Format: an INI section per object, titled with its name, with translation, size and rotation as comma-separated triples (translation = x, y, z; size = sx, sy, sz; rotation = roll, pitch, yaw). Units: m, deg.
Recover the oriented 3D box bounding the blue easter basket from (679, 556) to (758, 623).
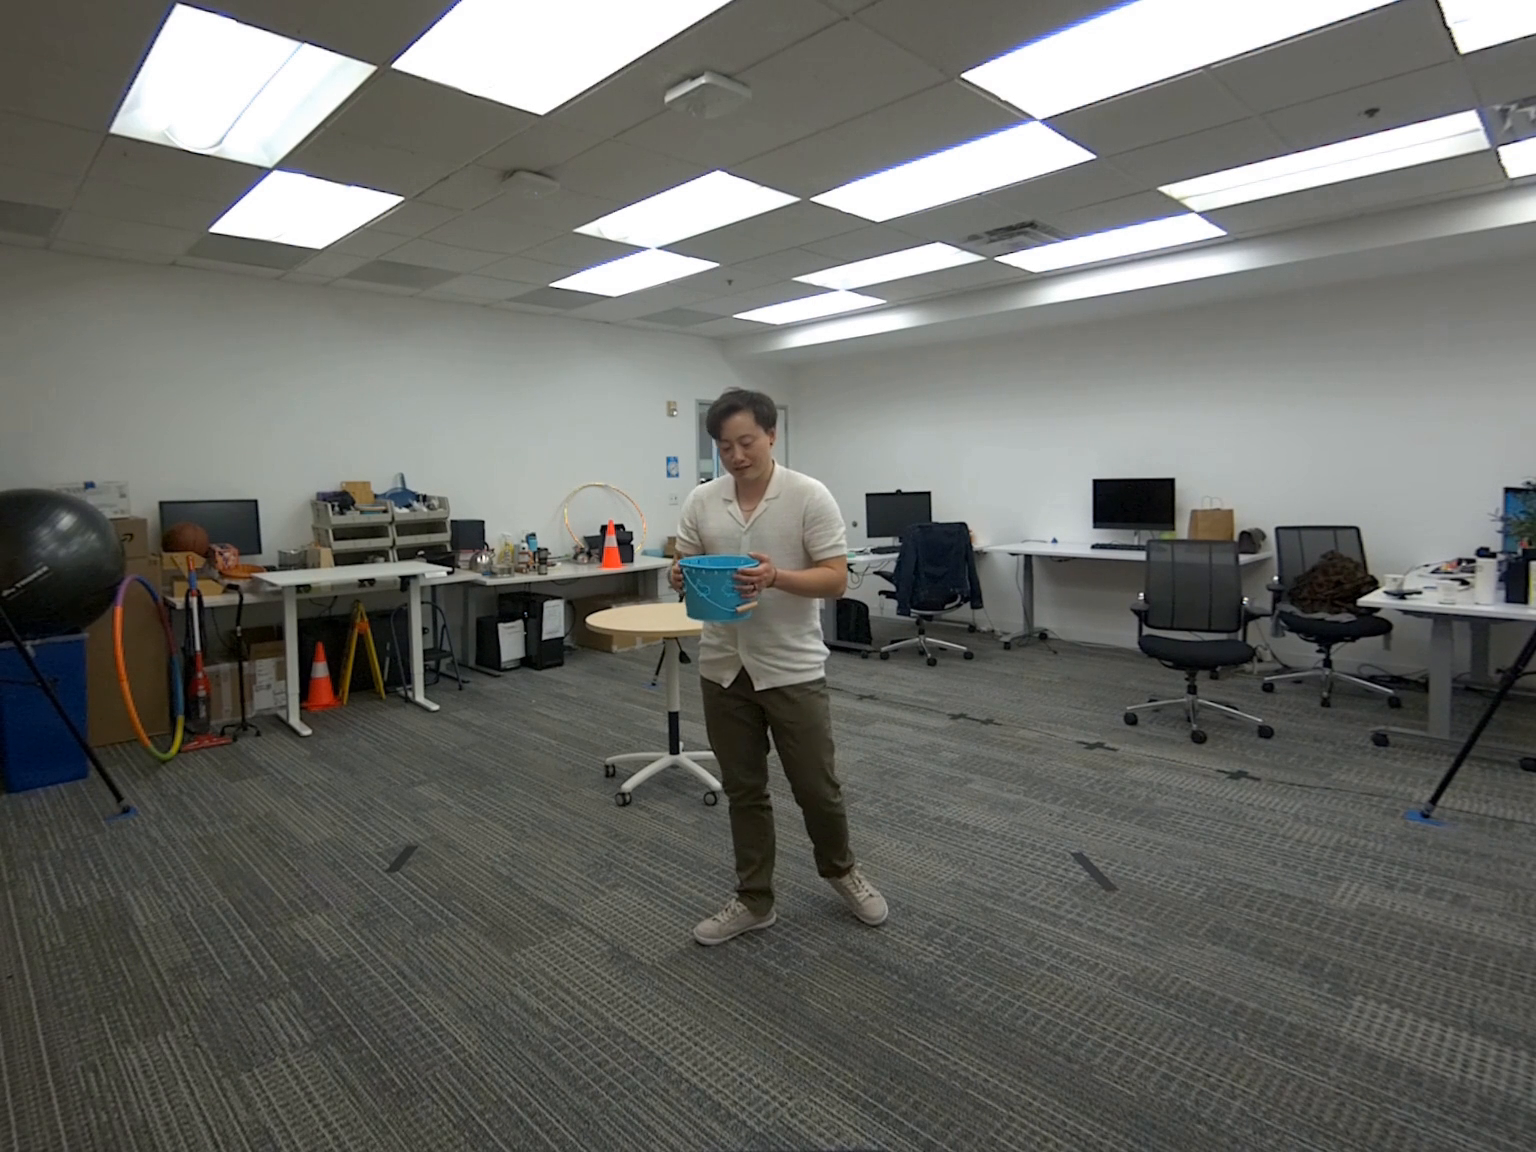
[blue easter basket]
translation = -0.123, 0.037, 2.368
size = 0.243, 0.155, 0.245
rotation = 0, 8, -2
